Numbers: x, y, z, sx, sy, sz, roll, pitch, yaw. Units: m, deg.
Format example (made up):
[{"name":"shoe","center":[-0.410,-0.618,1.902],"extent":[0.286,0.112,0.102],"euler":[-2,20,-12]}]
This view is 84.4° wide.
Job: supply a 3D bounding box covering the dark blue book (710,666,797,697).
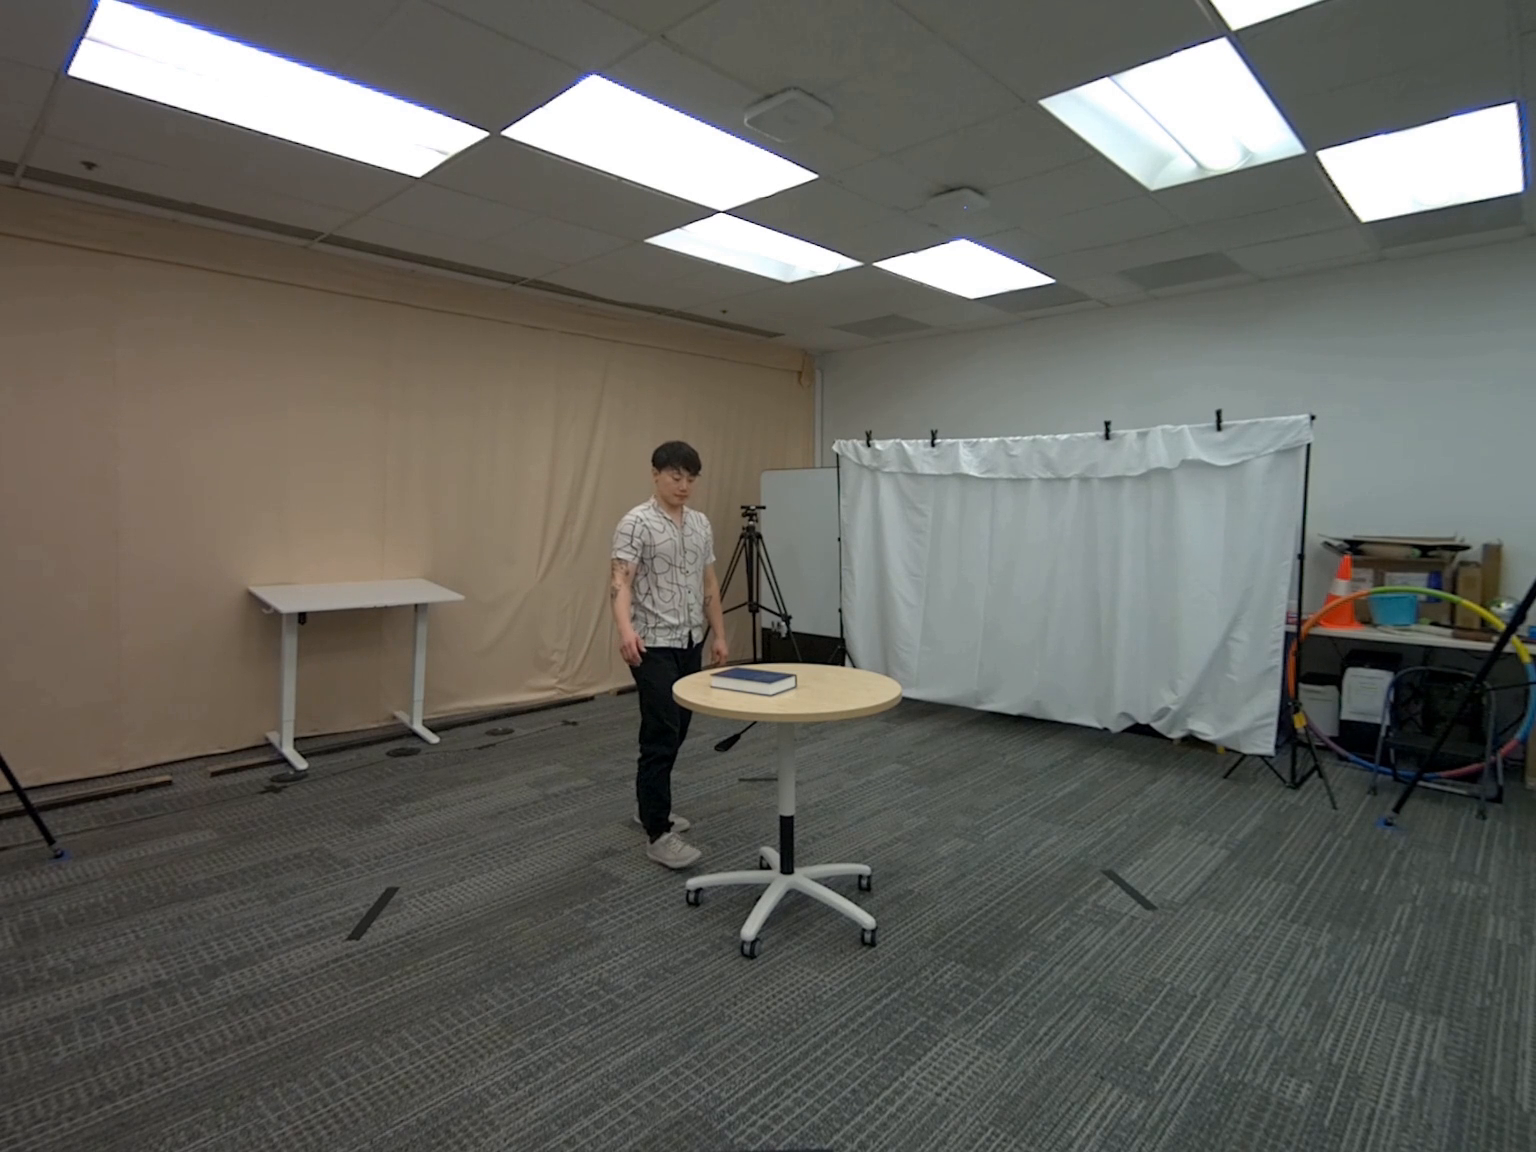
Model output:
[{"name":"dark blue book","center":[-0.053,0.351,2.806],"extent":[0.253,0.045,0.159],"euler":[3,6,34]}]
